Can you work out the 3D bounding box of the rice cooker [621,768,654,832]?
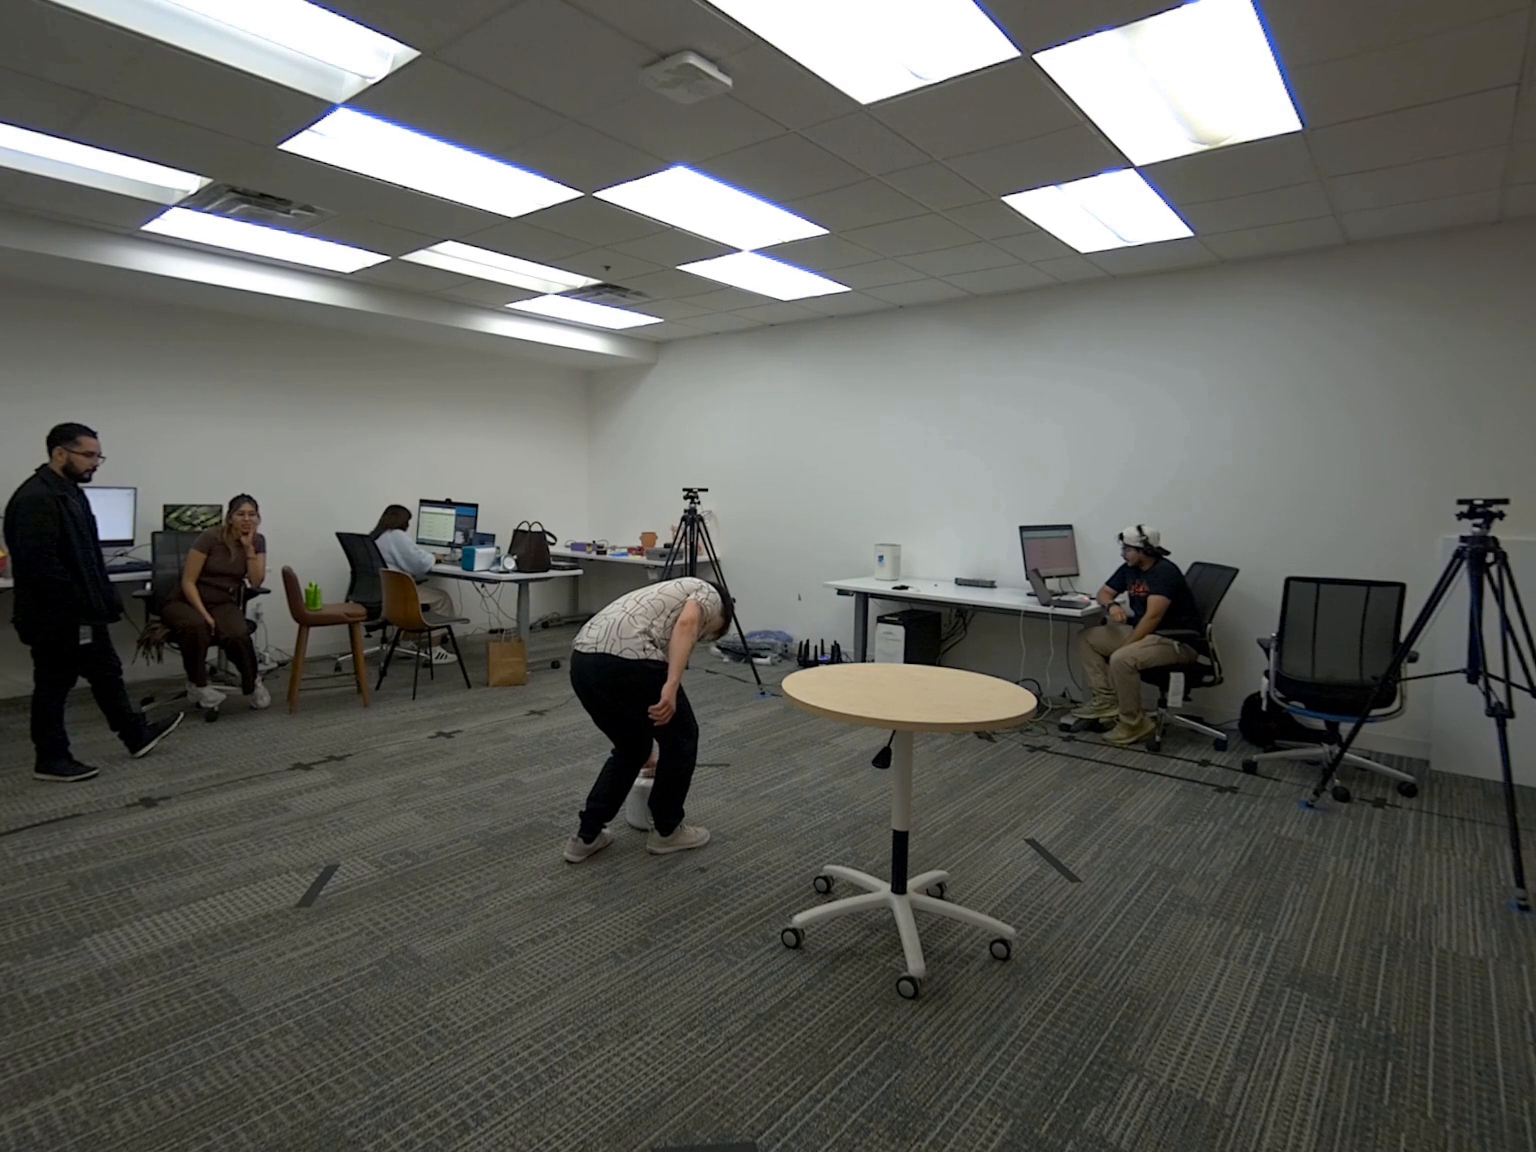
[{"bbox_3d":[-0.490,0.906,3.526,0.218,0.232,0.220,1,3,-10],"label":"rice cooker"}]
